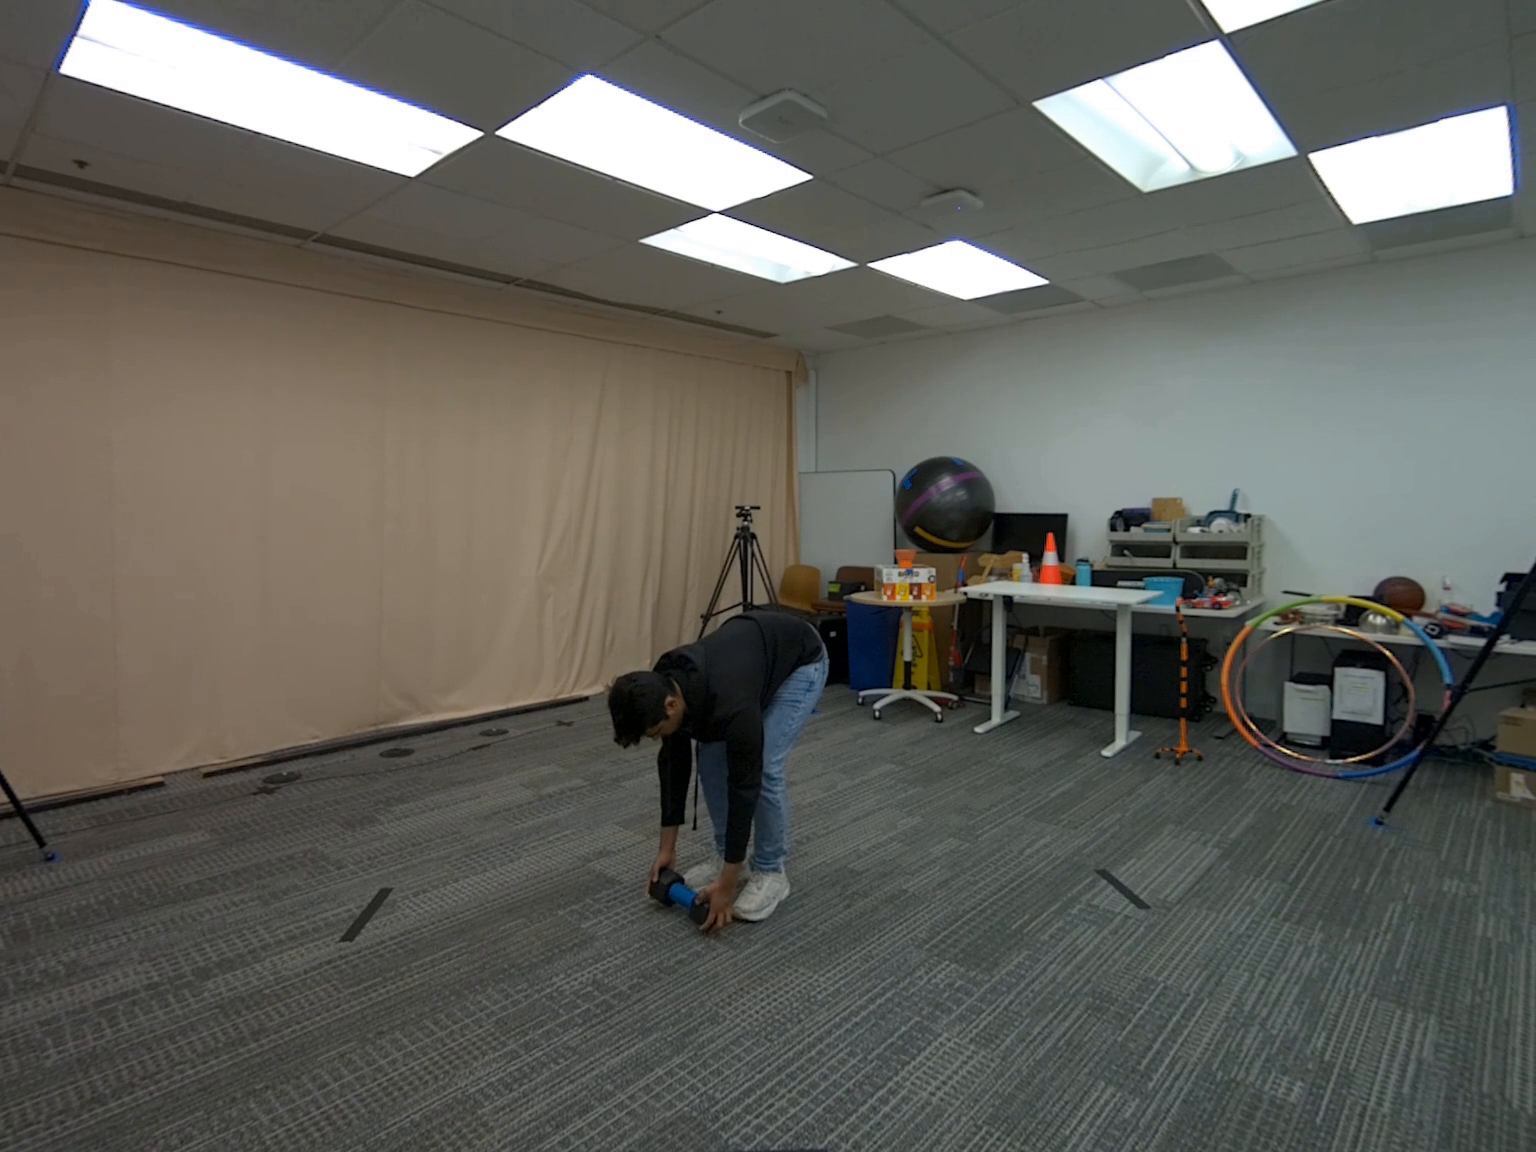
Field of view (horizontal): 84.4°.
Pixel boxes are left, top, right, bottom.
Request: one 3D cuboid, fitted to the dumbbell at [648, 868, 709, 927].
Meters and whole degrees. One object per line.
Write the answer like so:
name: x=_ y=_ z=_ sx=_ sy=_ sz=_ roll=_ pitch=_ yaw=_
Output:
dumbbell: x=-0.264 y=1.083 z=2.843 sx=0.303 sy=0.109 sz=0.119 roll=5 pitch=-35 yaw=43
